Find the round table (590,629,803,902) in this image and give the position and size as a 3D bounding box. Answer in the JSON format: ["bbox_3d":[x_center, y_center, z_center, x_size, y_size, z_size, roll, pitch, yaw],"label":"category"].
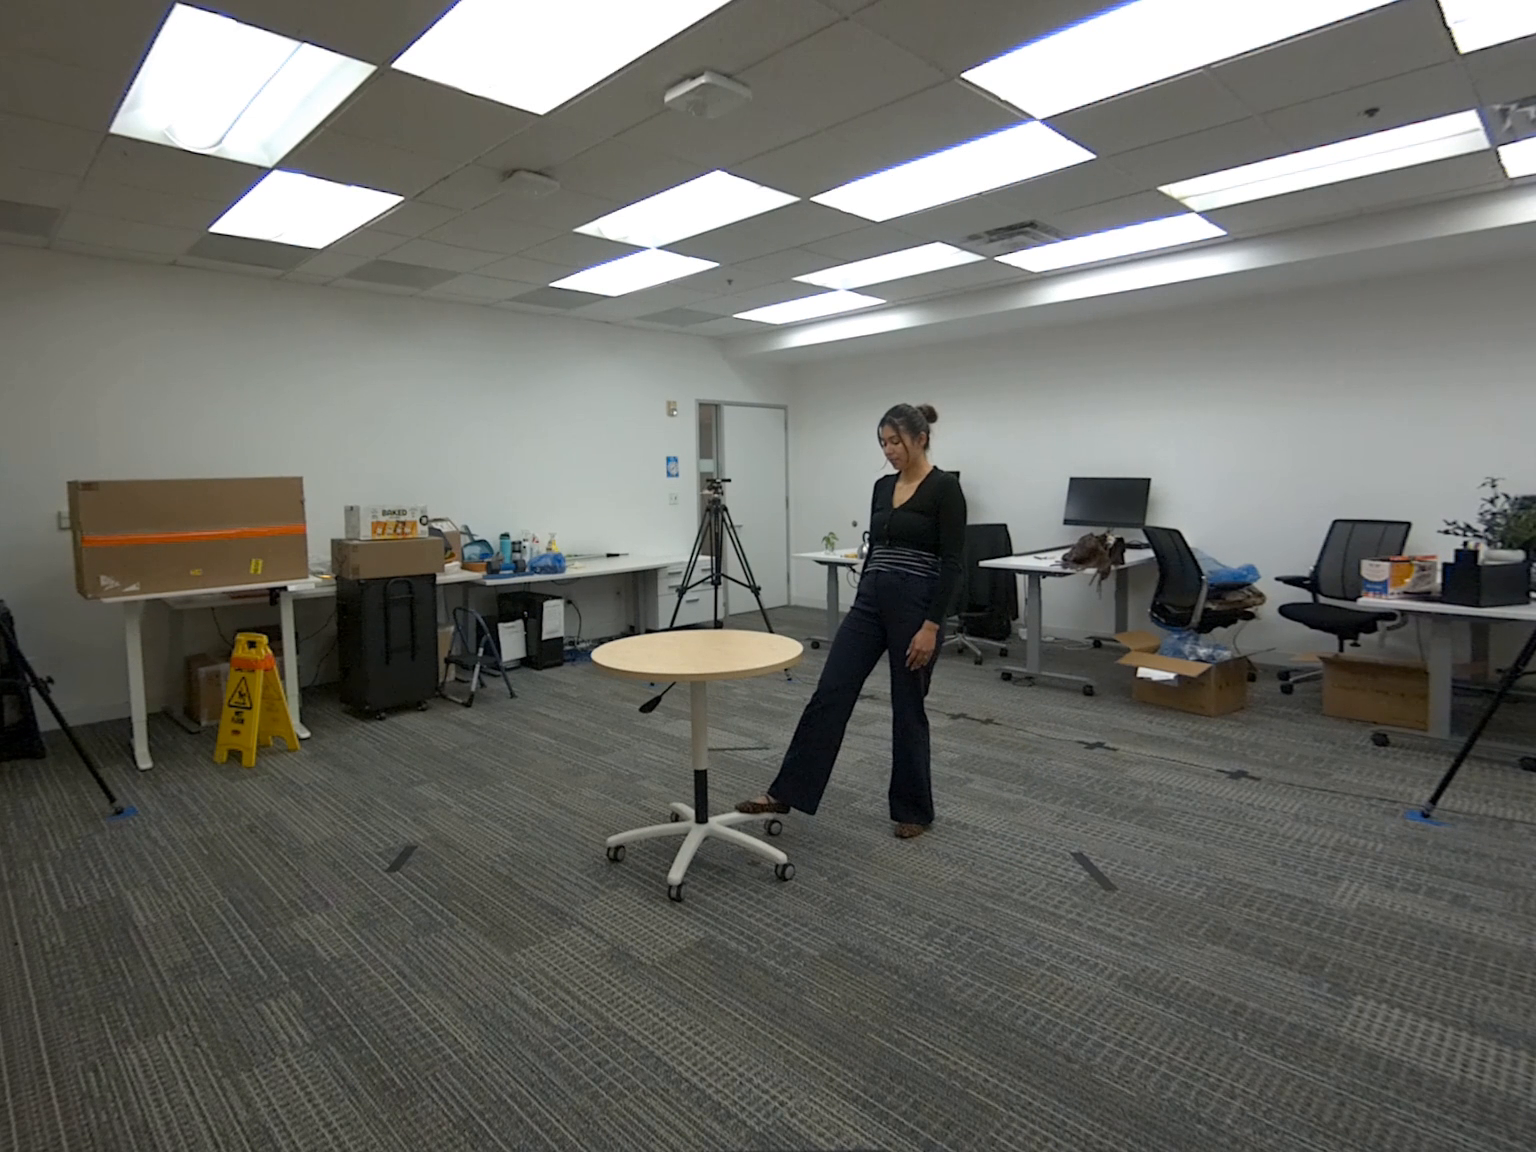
[{"bbox_3d":[-0.238,0.658,3.128,0.763,0.790,0.768,-2,5,-2],"label":"round table"}]
